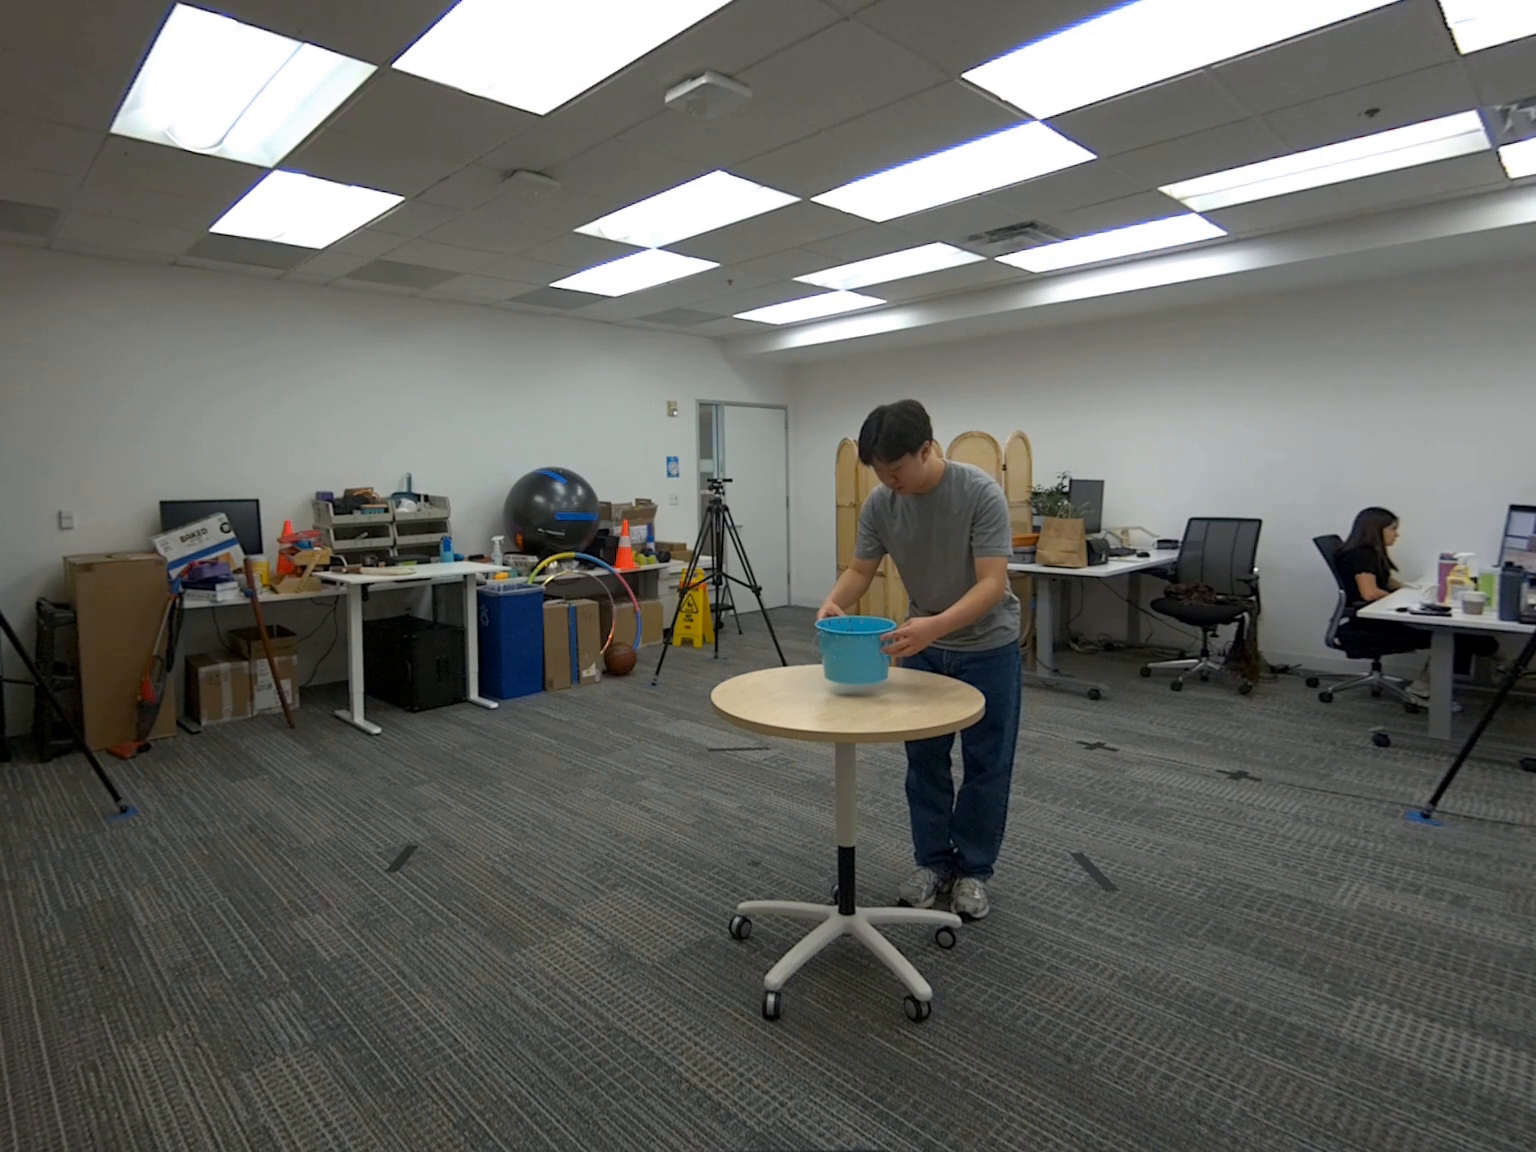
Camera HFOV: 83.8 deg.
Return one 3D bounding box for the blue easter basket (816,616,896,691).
[{"bbox_3d":[0.258,0.217,2.443,0.243,0.155,0.245,0,7,-2],"label":"blue easter basket"}]
